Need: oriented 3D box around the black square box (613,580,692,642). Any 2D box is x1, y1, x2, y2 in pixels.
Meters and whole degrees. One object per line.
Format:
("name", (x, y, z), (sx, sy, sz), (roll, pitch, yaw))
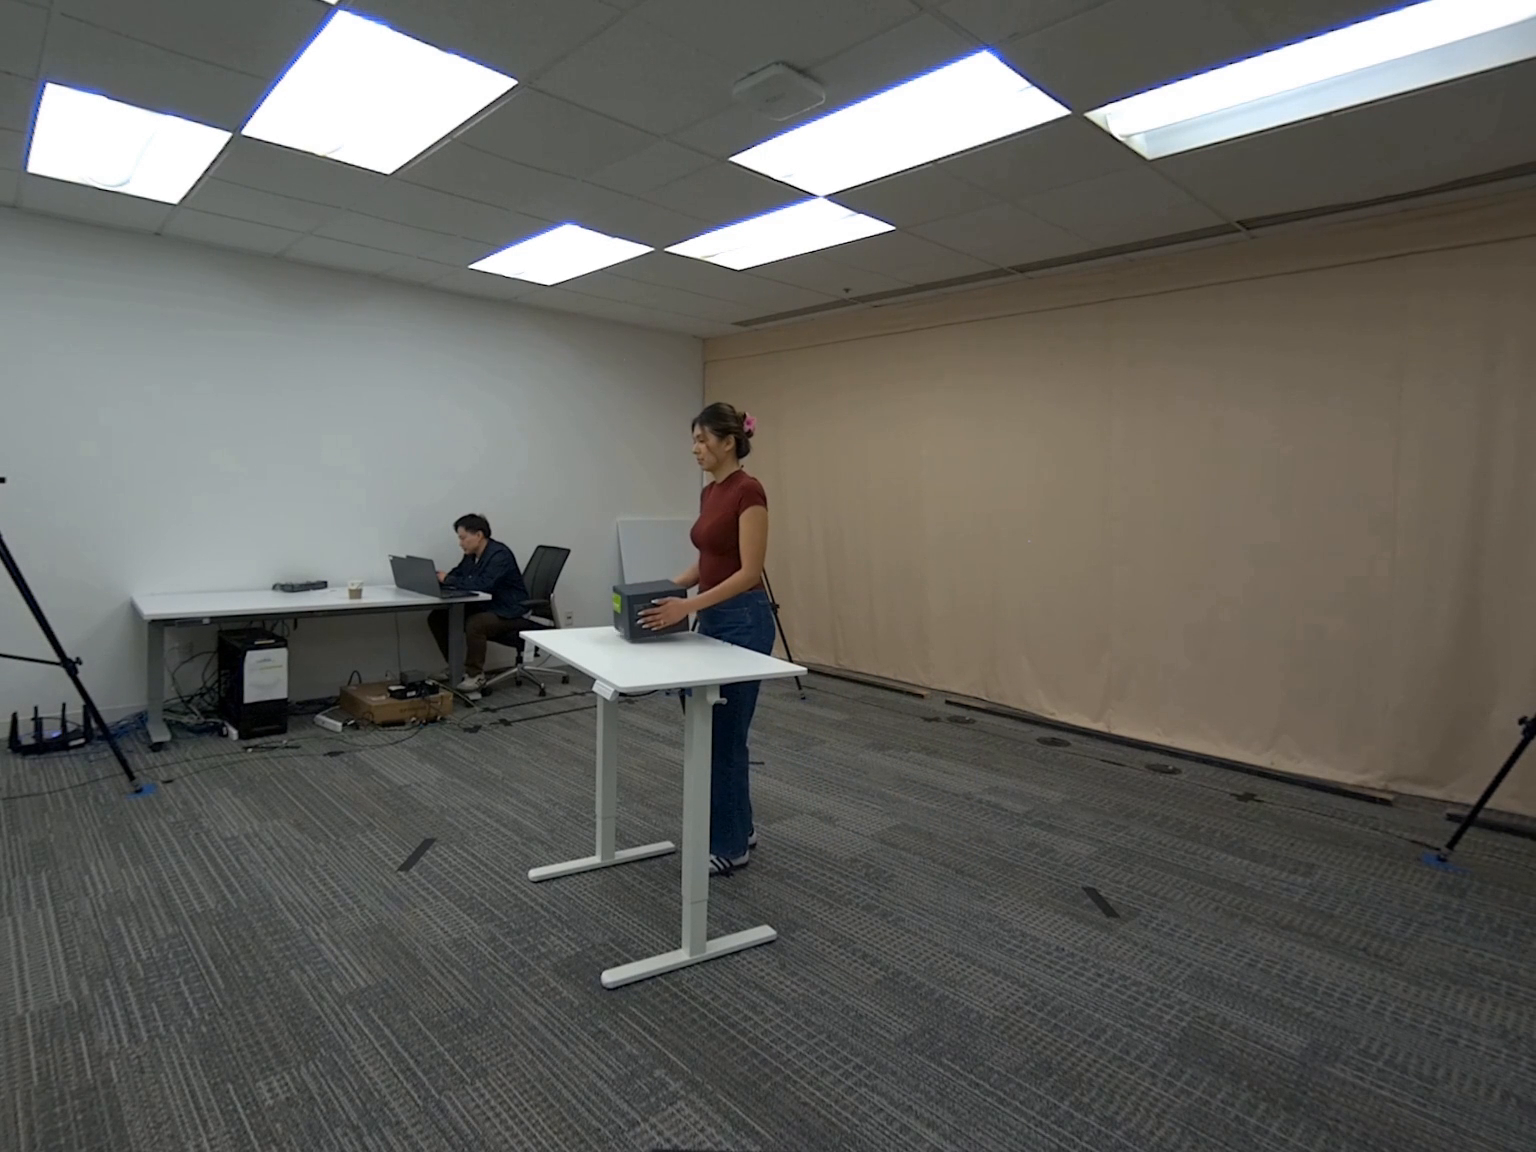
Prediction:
("black square box", (-0.429, 0.112, 3.006), (0.214, 0.155, 0.232), (-6, 9, -21))
